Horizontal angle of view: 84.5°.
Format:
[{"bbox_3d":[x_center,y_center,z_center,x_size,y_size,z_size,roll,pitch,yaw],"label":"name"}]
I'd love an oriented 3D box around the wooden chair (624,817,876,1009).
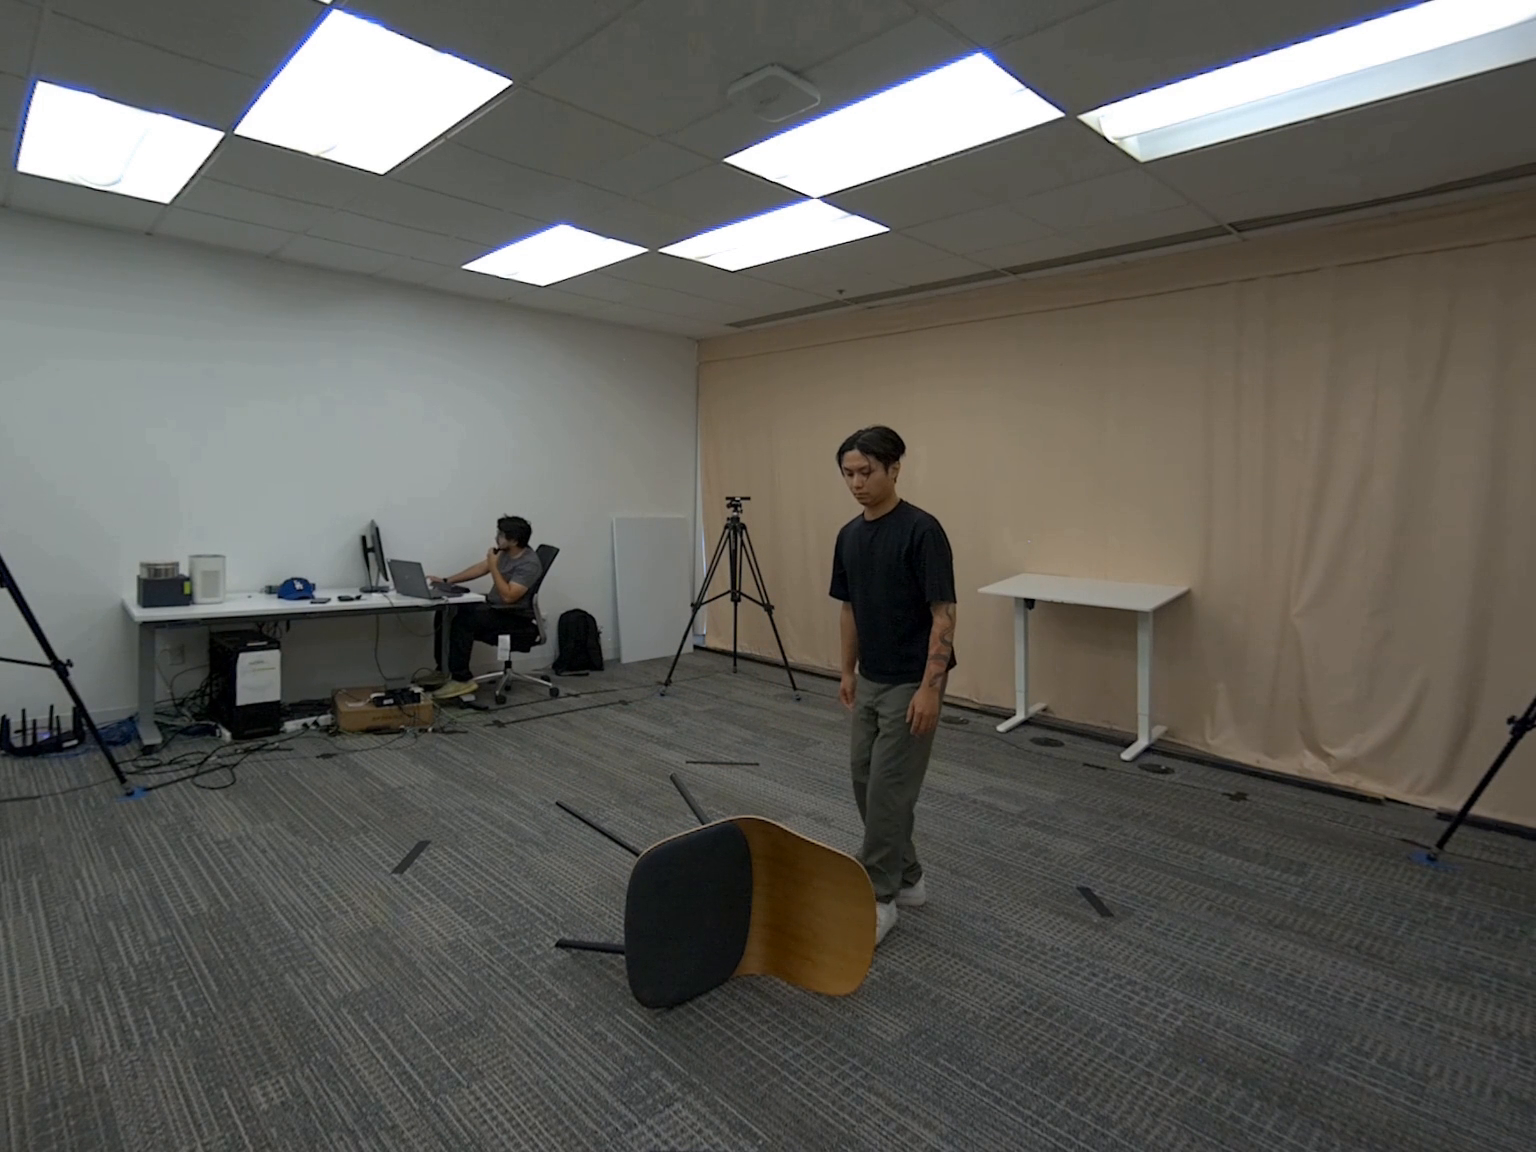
[{"bbox_3d":[-0.204,0.940,2.406,0.900,0.477,0.511,5,5,43],"label":"wooden chair"}]
